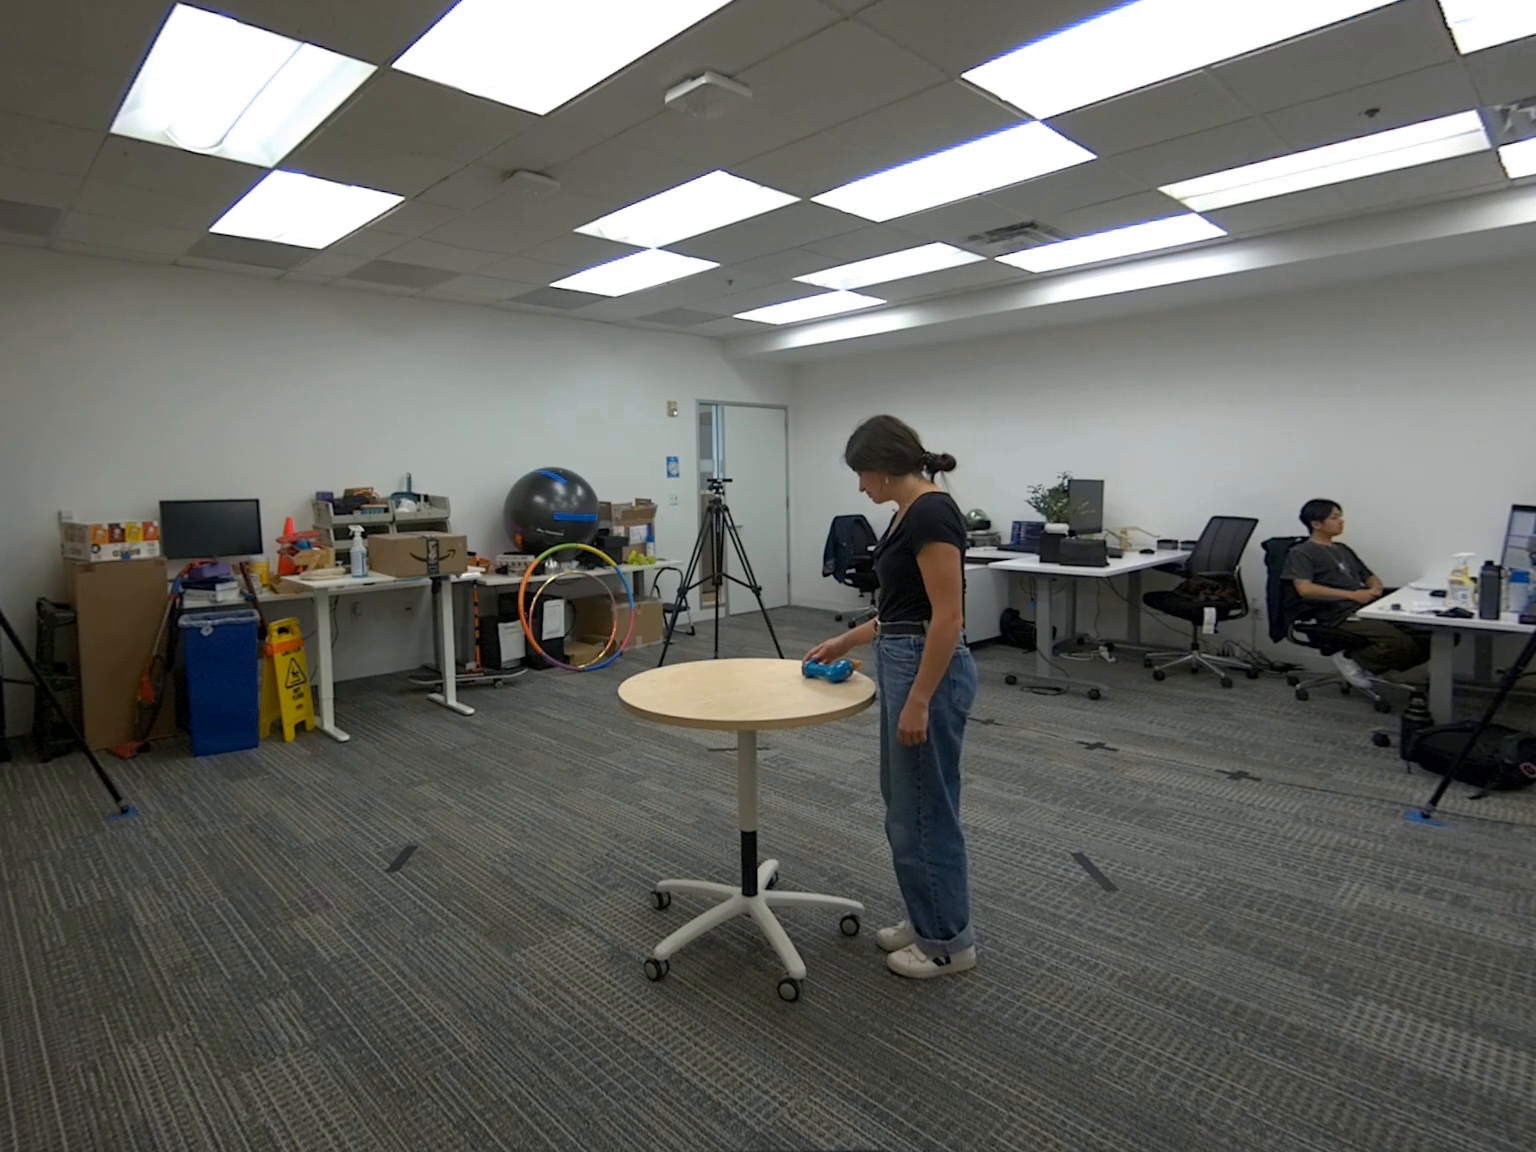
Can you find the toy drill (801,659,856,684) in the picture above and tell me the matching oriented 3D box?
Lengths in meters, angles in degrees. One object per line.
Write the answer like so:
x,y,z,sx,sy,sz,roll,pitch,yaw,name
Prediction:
0.207,0.286,2.632,0.166,0.060,0.150,-16,14,-38,toy drill
